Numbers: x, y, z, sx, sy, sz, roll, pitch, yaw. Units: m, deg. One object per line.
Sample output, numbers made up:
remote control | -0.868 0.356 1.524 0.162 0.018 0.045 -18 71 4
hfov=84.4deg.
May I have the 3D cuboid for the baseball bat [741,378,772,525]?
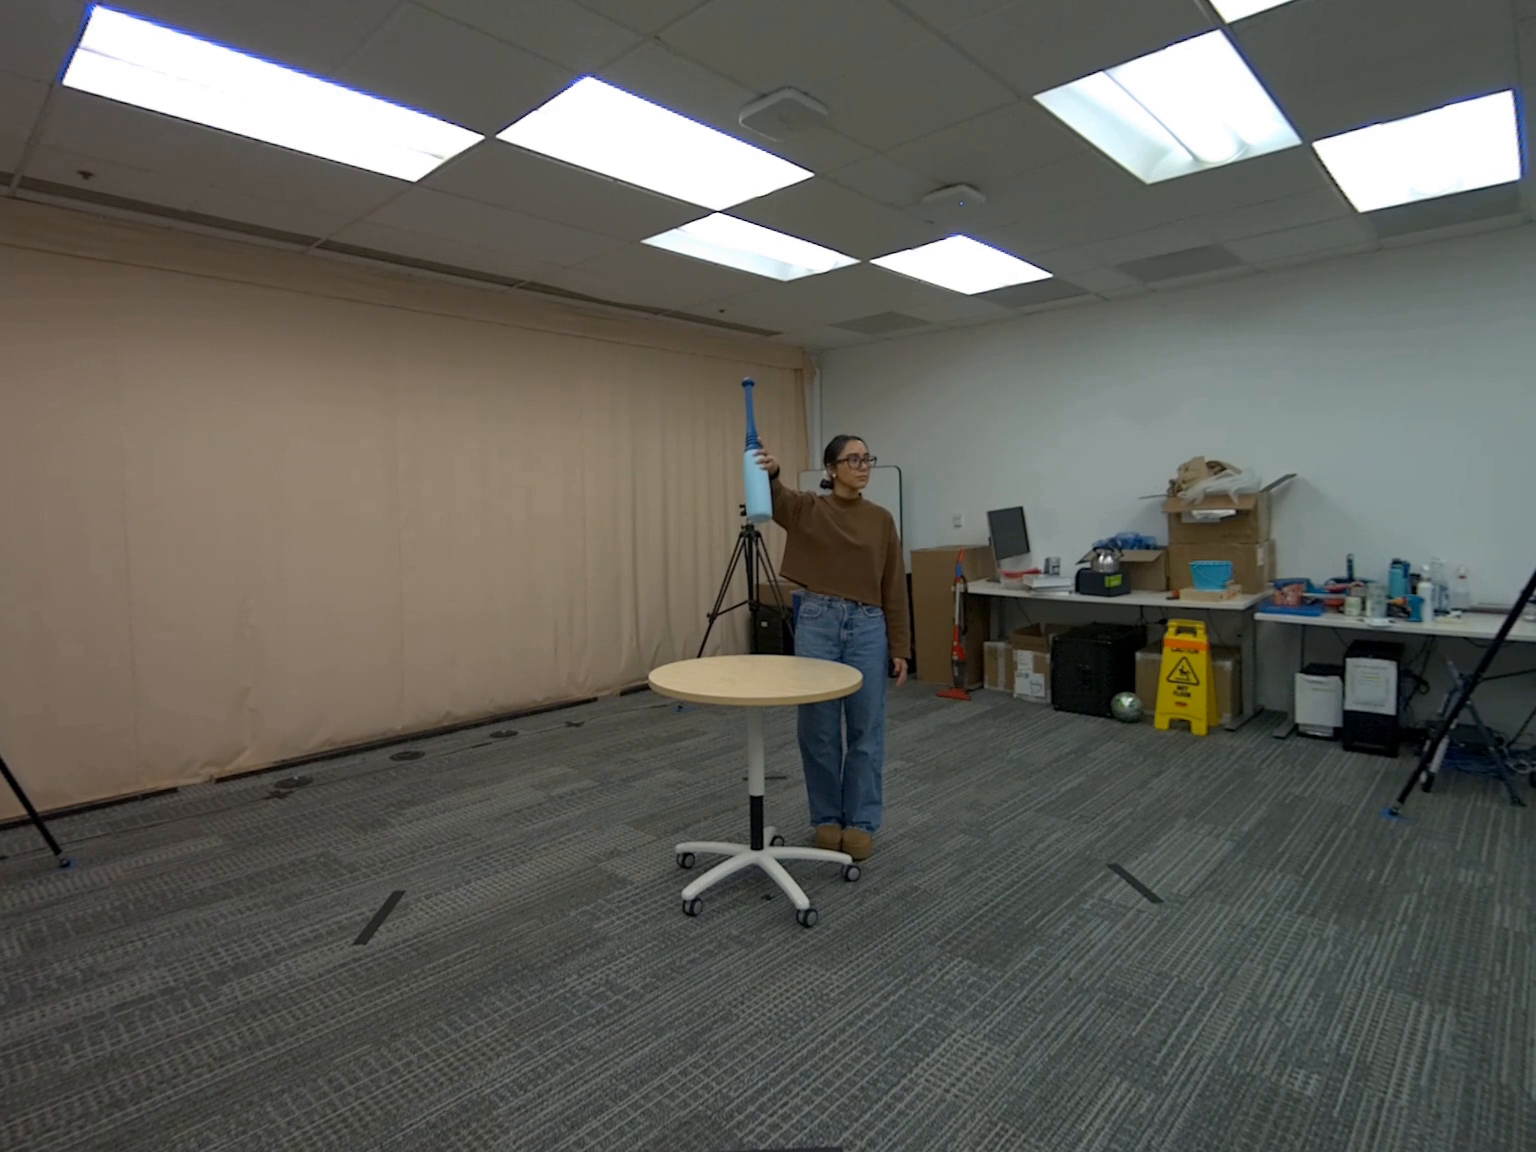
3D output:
baseball bat | -0.041 -0.447 2.928 0.089 0.550 0.088 -5 -18 -4
